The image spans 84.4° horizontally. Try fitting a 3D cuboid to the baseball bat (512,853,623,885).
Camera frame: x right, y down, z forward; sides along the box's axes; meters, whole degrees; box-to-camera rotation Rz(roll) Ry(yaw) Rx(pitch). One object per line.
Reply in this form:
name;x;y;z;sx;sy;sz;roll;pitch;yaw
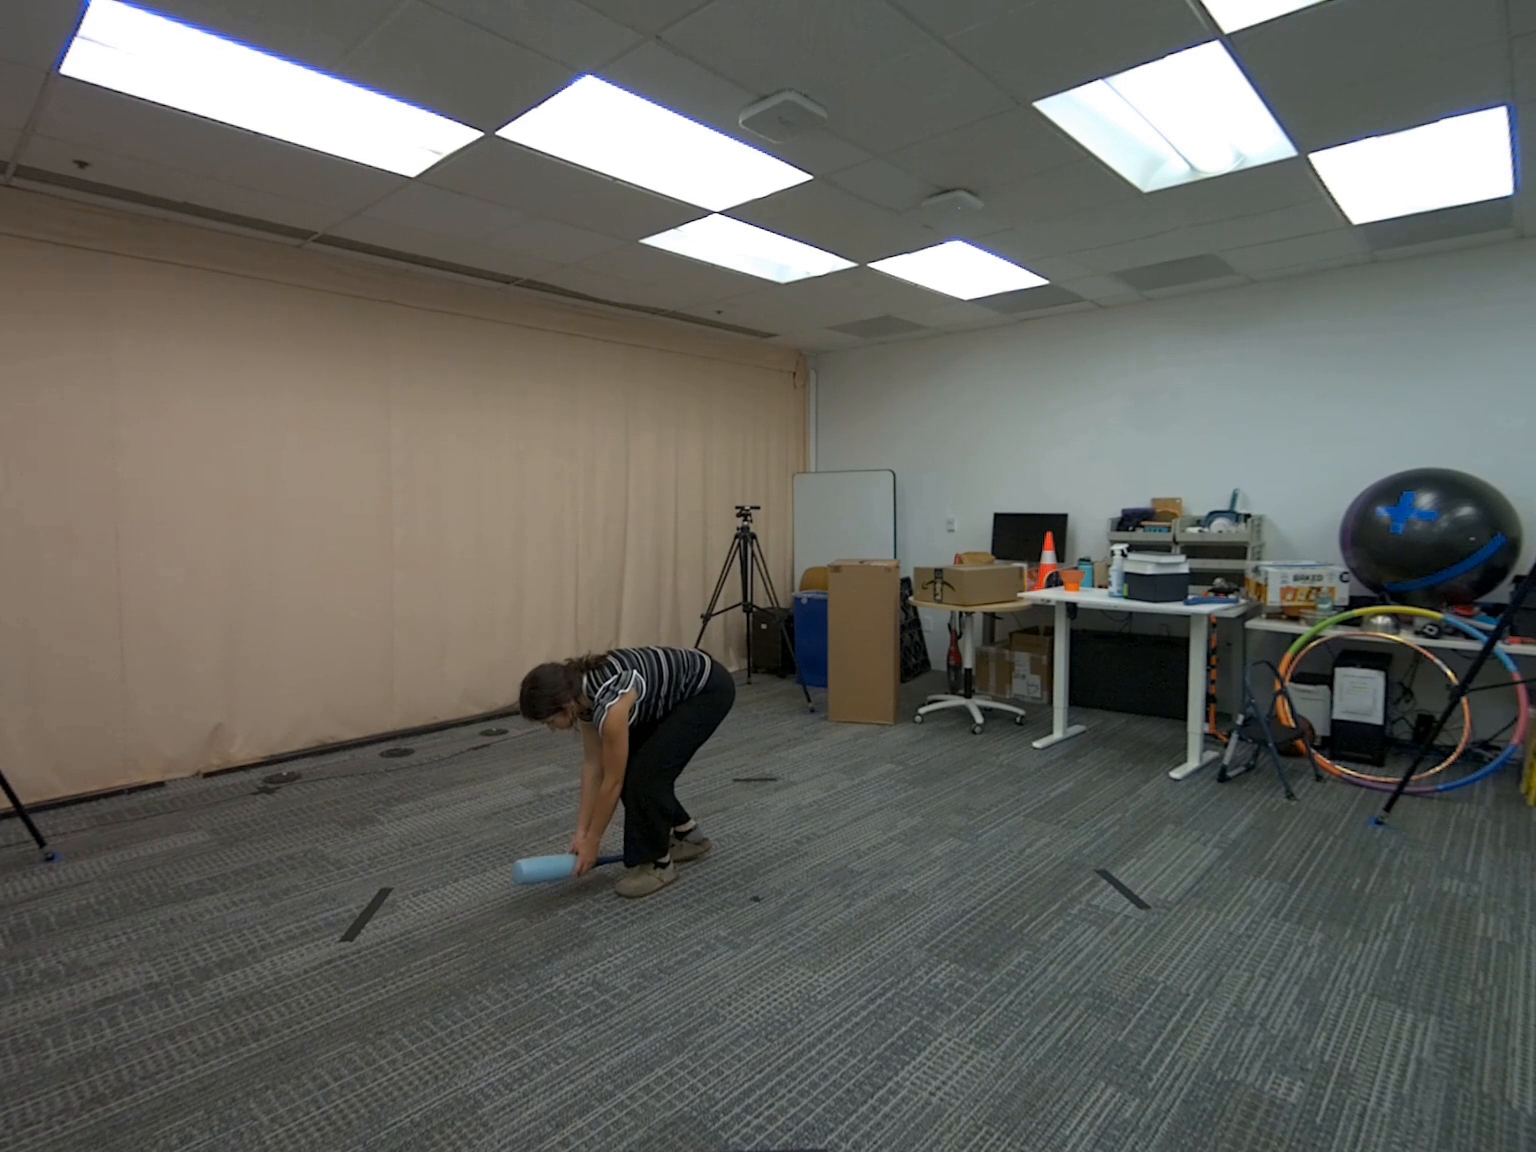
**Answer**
baseball bat;-0.684;1.046;3.050;0.092;0.089;0.524;4;-4;45
